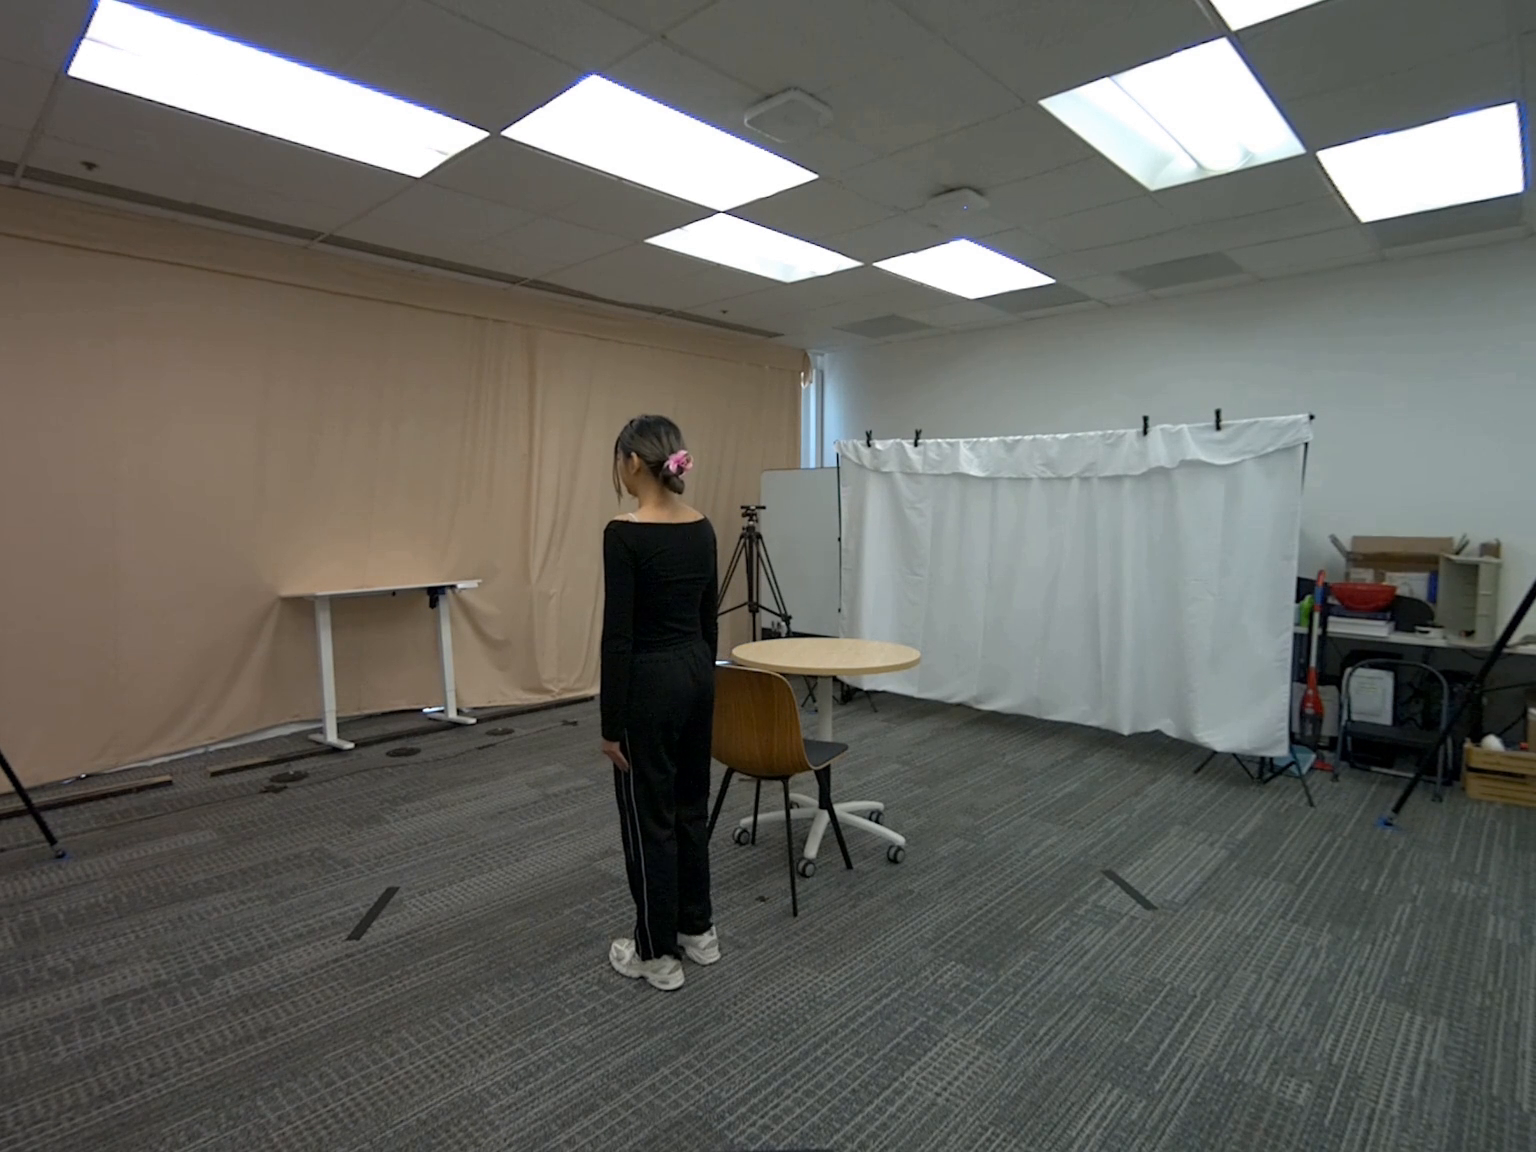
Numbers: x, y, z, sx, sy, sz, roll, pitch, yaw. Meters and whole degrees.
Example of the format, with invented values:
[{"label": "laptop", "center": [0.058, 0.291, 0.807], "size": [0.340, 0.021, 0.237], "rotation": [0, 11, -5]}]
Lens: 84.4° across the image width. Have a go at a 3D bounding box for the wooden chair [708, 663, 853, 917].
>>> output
[{"label": "wooden chair", "center": [0.021, 0.702, 3.136], "size": [0.492, 0.873, 0.510], "rotation": [2, 8, 33]}]
